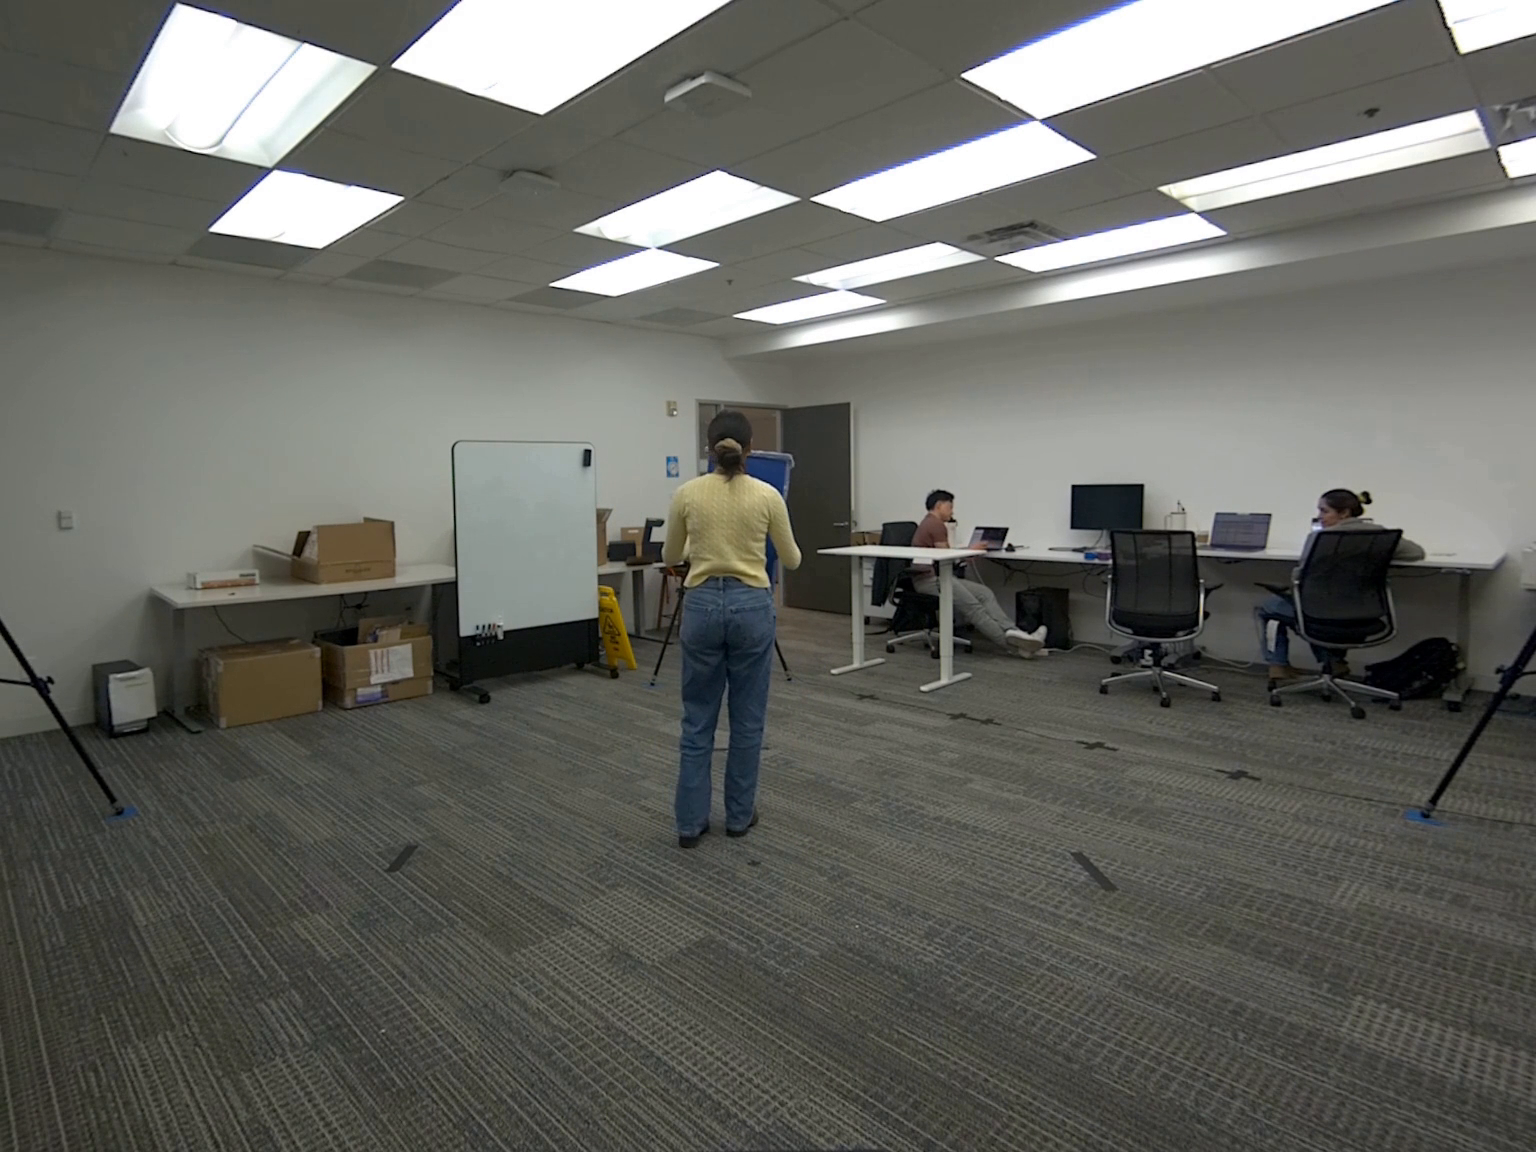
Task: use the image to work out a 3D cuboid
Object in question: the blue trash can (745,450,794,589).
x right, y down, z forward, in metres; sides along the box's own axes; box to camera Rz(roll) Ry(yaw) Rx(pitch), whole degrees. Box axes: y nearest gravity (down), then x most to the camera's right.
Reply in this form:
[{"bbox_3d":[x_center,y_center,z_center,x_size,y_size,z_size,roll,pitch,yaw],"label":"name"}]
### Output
[{"bbox_3d":[-0.111,-0.183,3.755,0.380,0.713,0.372,7,1,5],"label":"blue trash can"}]
